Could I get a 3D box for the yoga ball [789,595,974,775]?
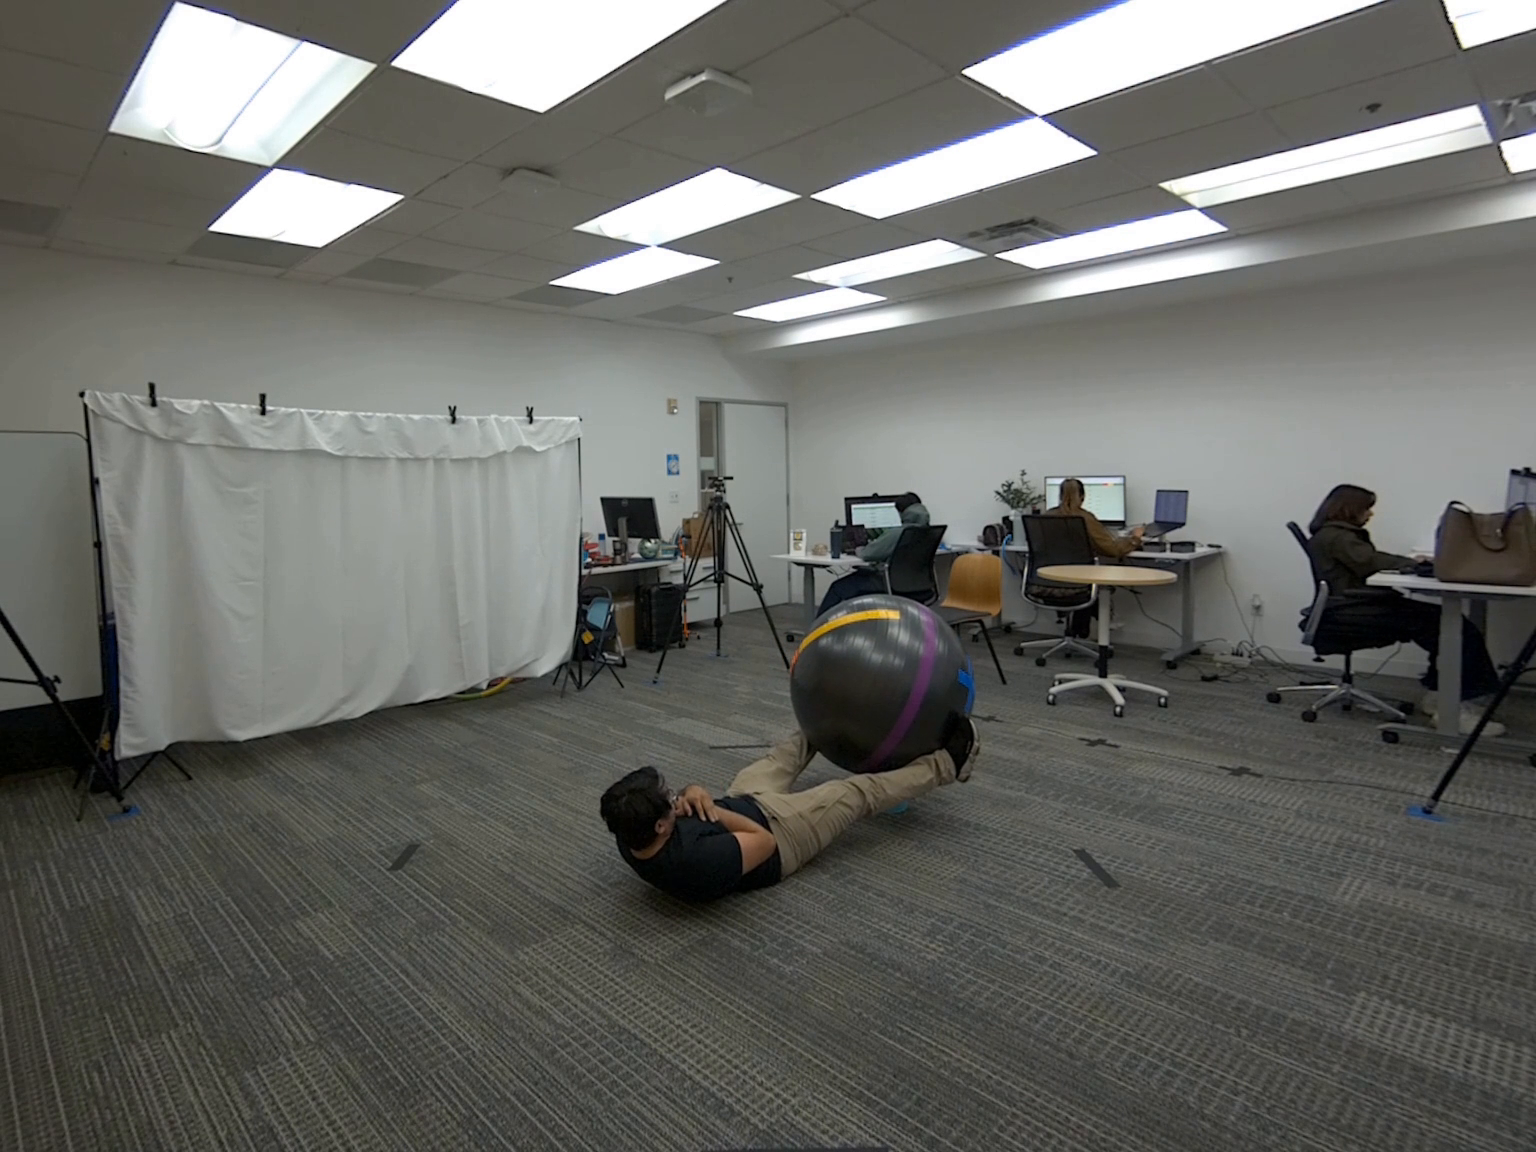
[{"bbox_3d":[0.476,0.464,3.582,0.757,0.755,0.762,-1,5,-2],"label":"yoga ball"}]
